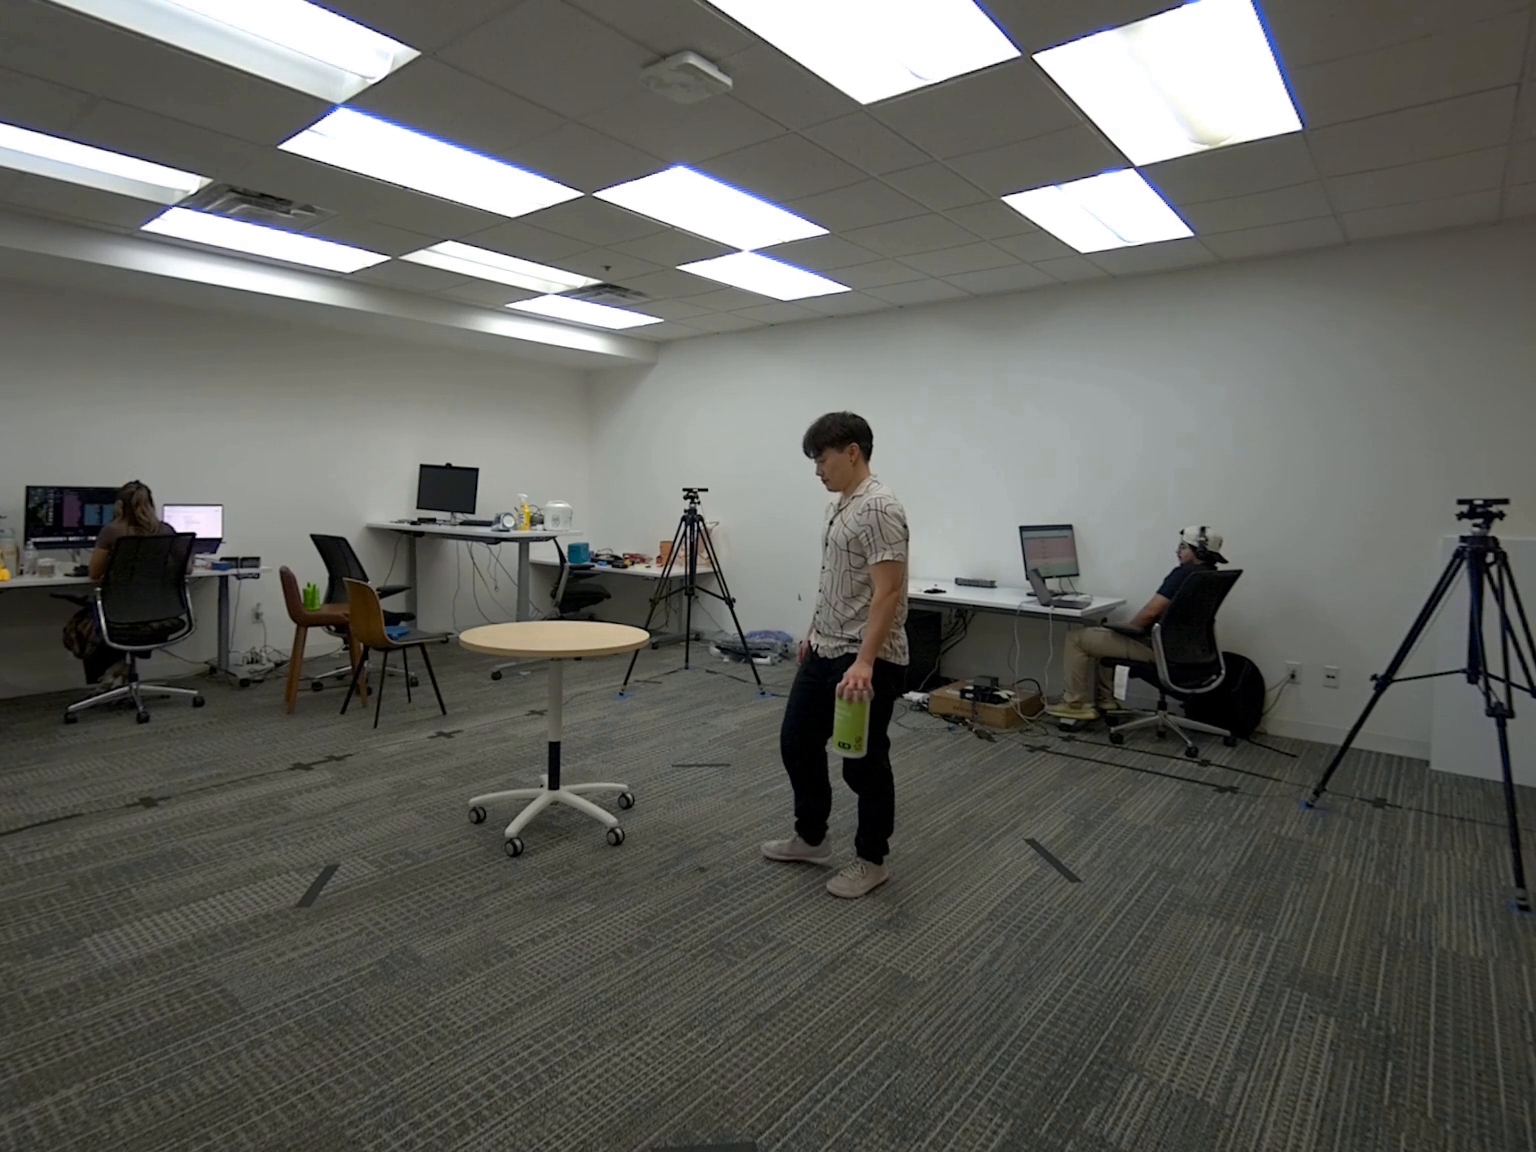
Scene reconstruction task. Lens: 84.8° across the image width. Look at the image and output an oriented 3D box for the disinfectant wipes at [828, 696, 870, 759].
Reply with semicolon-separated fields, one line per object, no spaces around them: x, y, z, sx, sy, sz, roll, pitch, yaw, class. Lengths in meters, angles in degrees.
0.263;0.448;2.680;0.117;0.216;0.119;1;8;-2;disinfectant wipes
